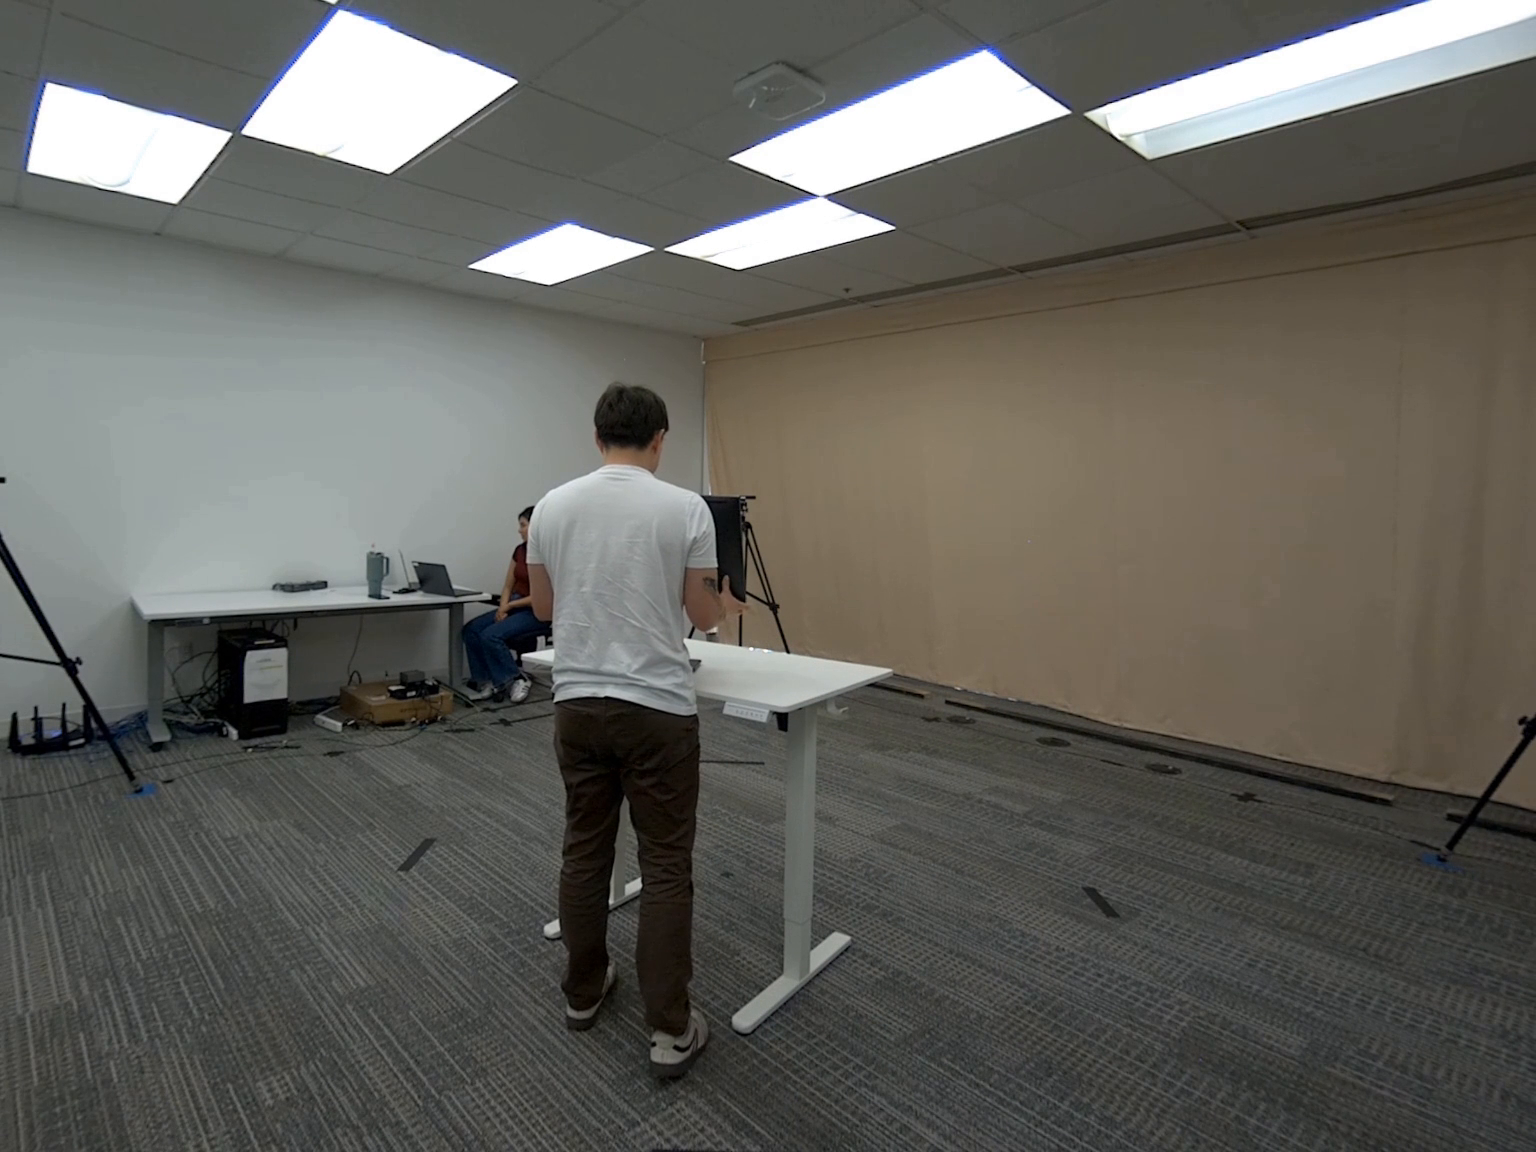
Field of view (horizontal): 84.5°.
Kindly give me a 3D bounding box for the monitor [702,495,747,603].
[{"bbox_3d":[-0.341,0.023,2.471,0.544,0.520,0.186,2,7,11],"label":"monitor"}]
